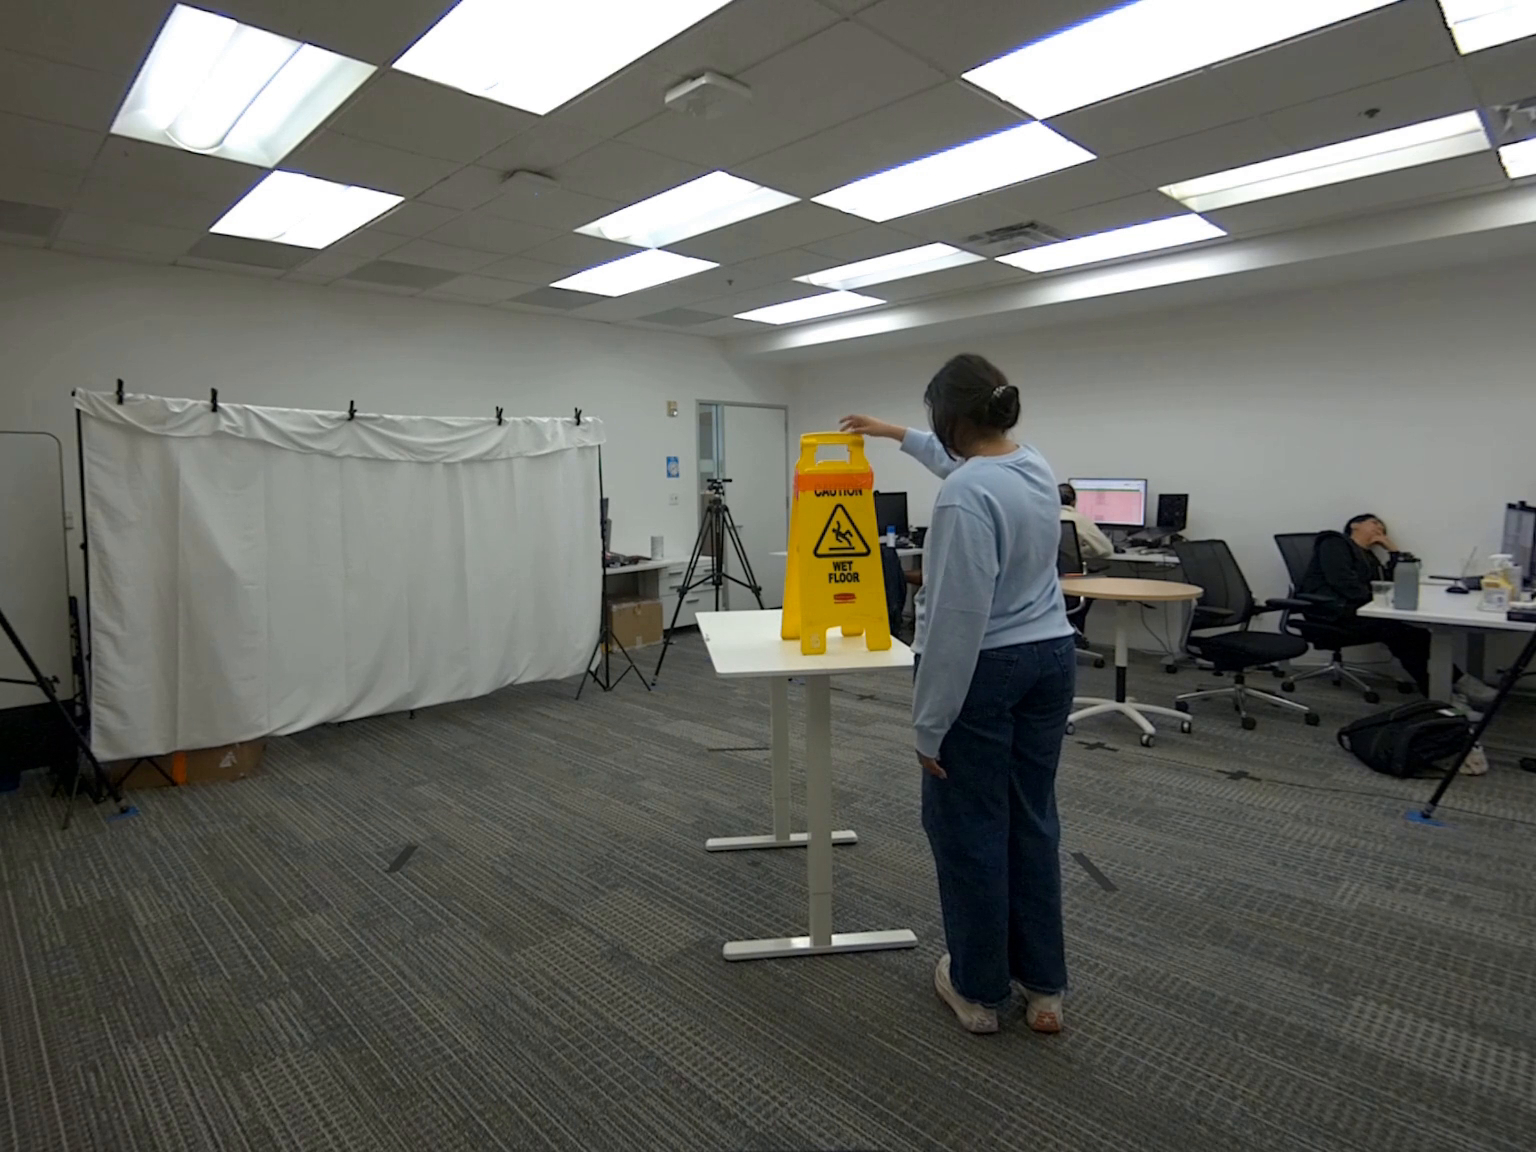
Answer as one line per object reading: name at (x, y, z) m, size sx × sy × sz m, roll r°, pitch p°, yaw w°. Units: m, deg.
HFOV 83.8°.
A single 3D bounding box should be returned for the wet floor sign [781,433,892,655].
wet floor sign at (0.202, -0.110, 2.620) m, size 0.279 × 0.644 × 0.294 m, roll -2°, pitch 4°, yaw -12°
